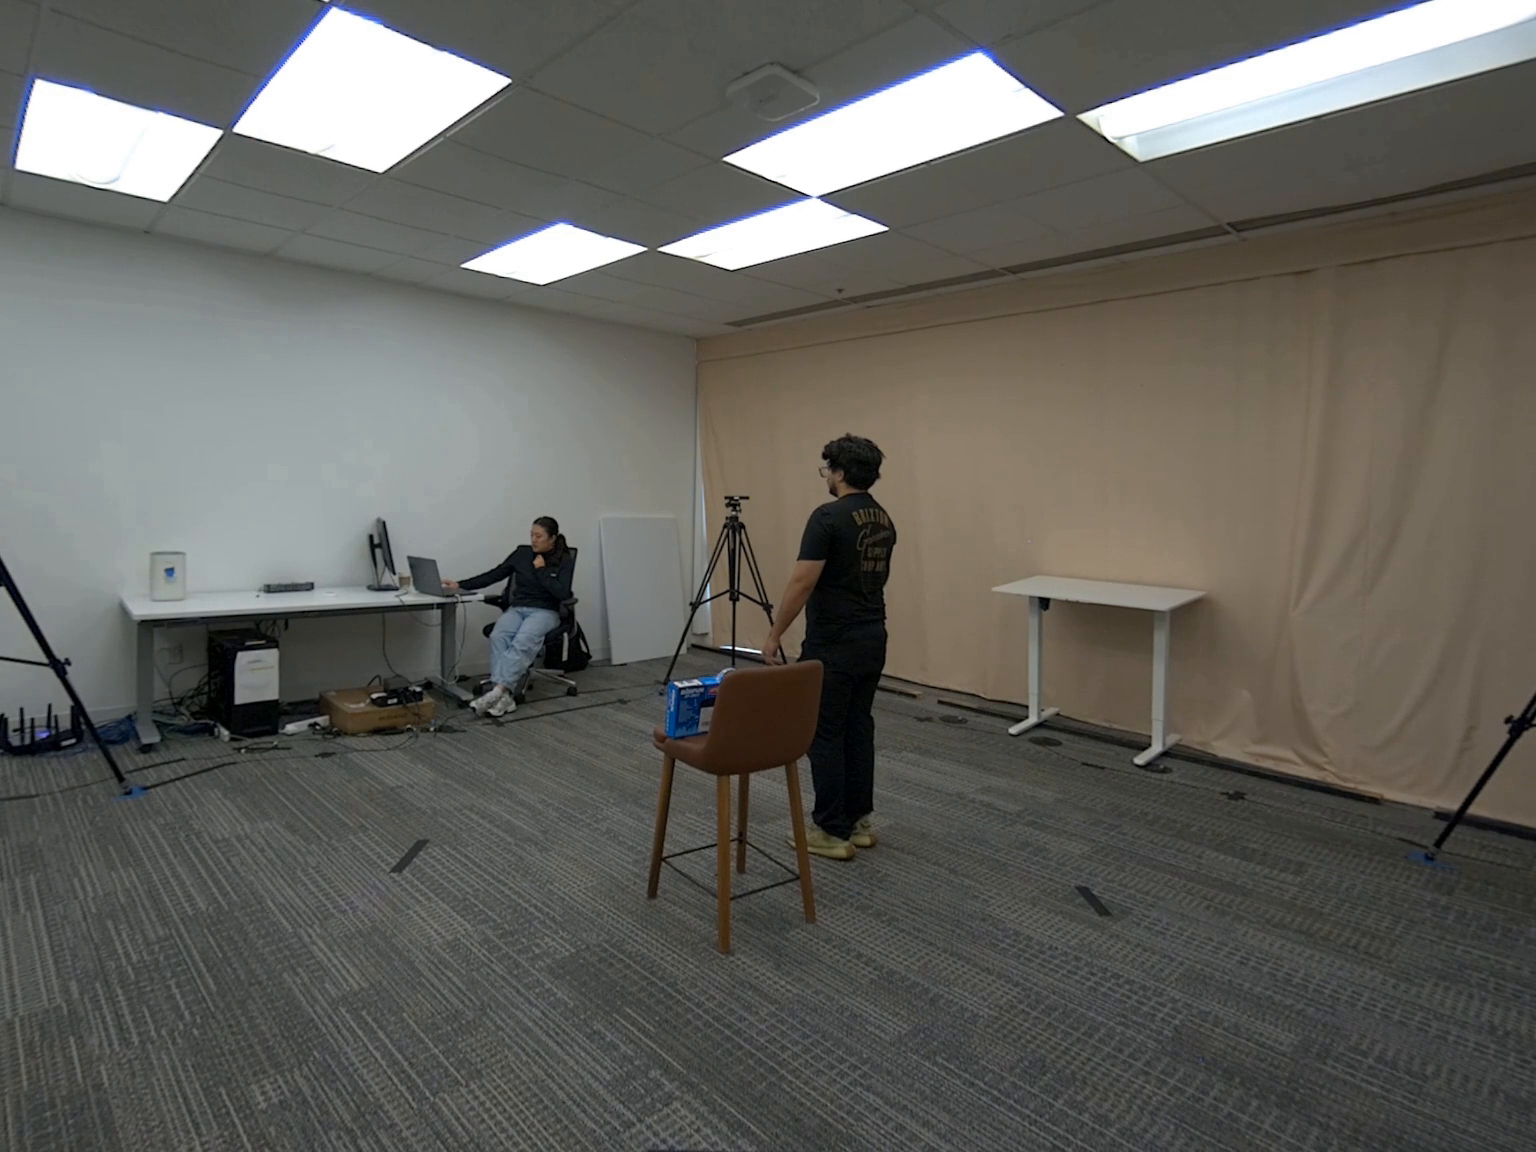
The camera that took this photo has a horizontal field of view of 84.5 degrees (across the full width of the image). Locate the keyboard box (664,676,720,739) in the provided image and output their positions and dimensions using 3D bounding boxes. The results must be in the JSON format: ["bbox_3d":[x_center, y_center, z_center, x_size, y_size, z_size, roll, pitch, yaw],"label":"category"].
[{"bbox_3d":[-0.142,0.429,2.831,0.427,0.175,0.061,-2,12,-36],"label":"keyboard box"}]
